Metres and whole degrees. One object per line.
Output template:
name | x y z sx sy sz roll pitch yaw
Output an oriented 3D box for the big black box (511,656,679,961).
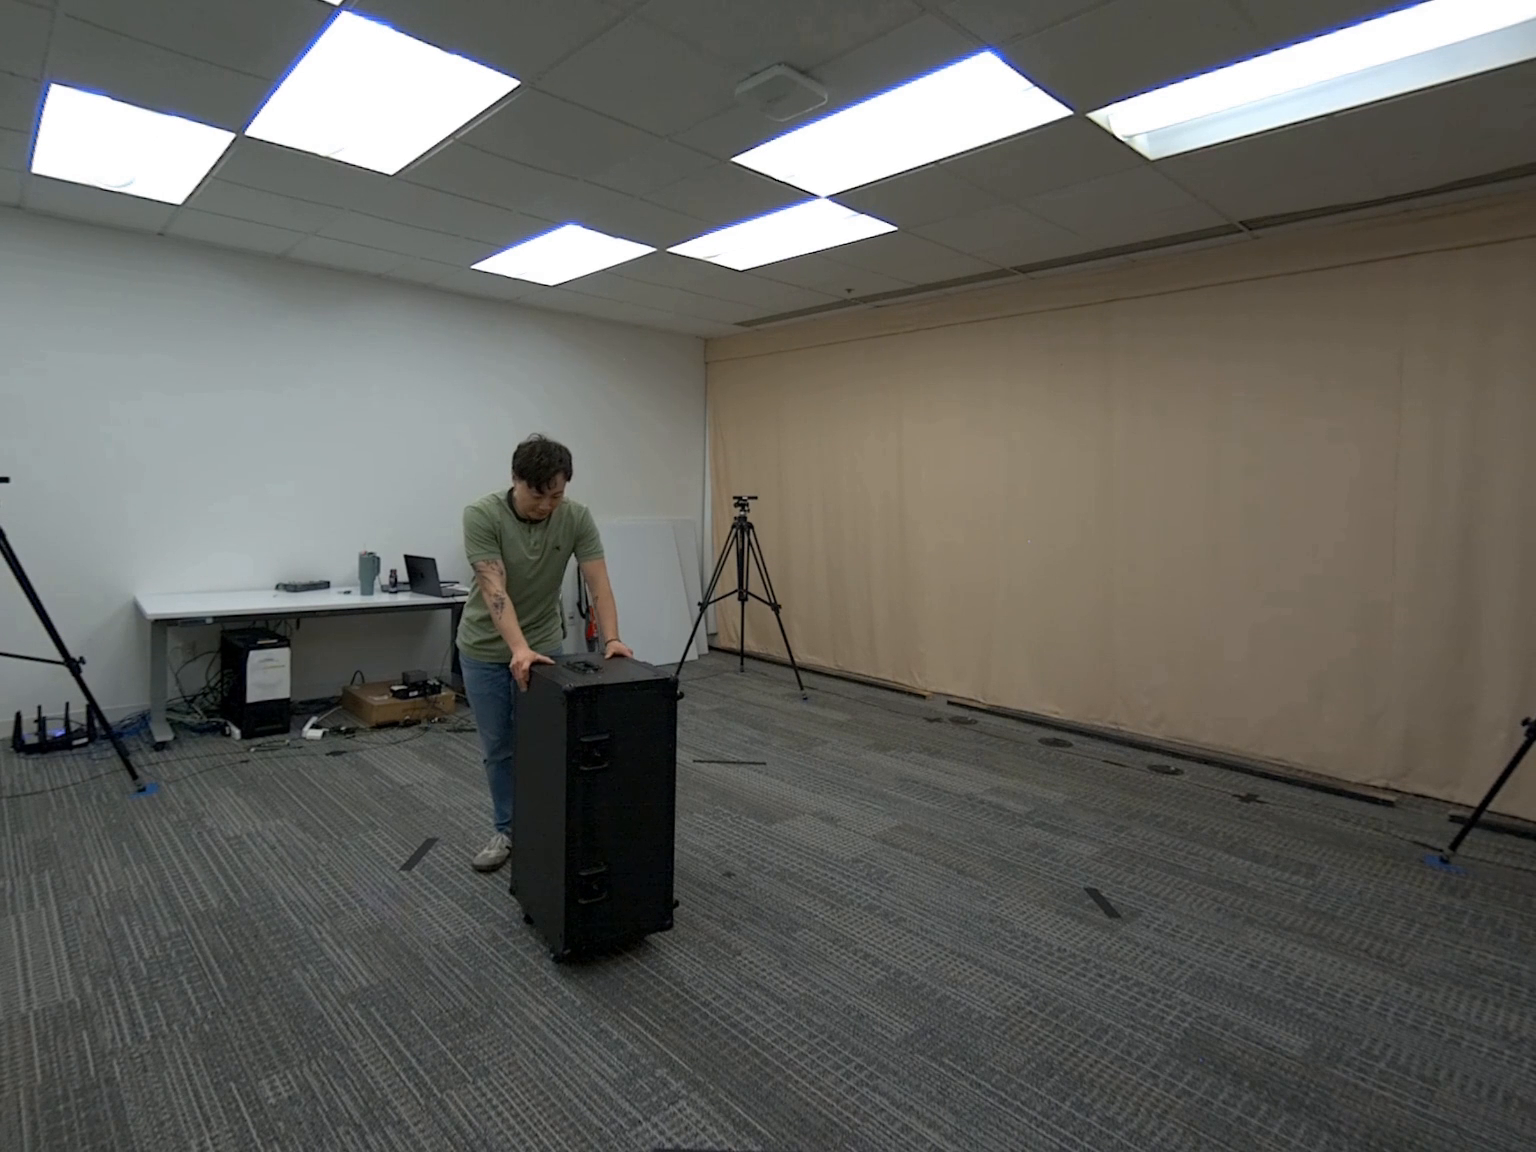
big black box | -0.559 0.713 2.659 0.388 0.860 0.533 0 3 -33
